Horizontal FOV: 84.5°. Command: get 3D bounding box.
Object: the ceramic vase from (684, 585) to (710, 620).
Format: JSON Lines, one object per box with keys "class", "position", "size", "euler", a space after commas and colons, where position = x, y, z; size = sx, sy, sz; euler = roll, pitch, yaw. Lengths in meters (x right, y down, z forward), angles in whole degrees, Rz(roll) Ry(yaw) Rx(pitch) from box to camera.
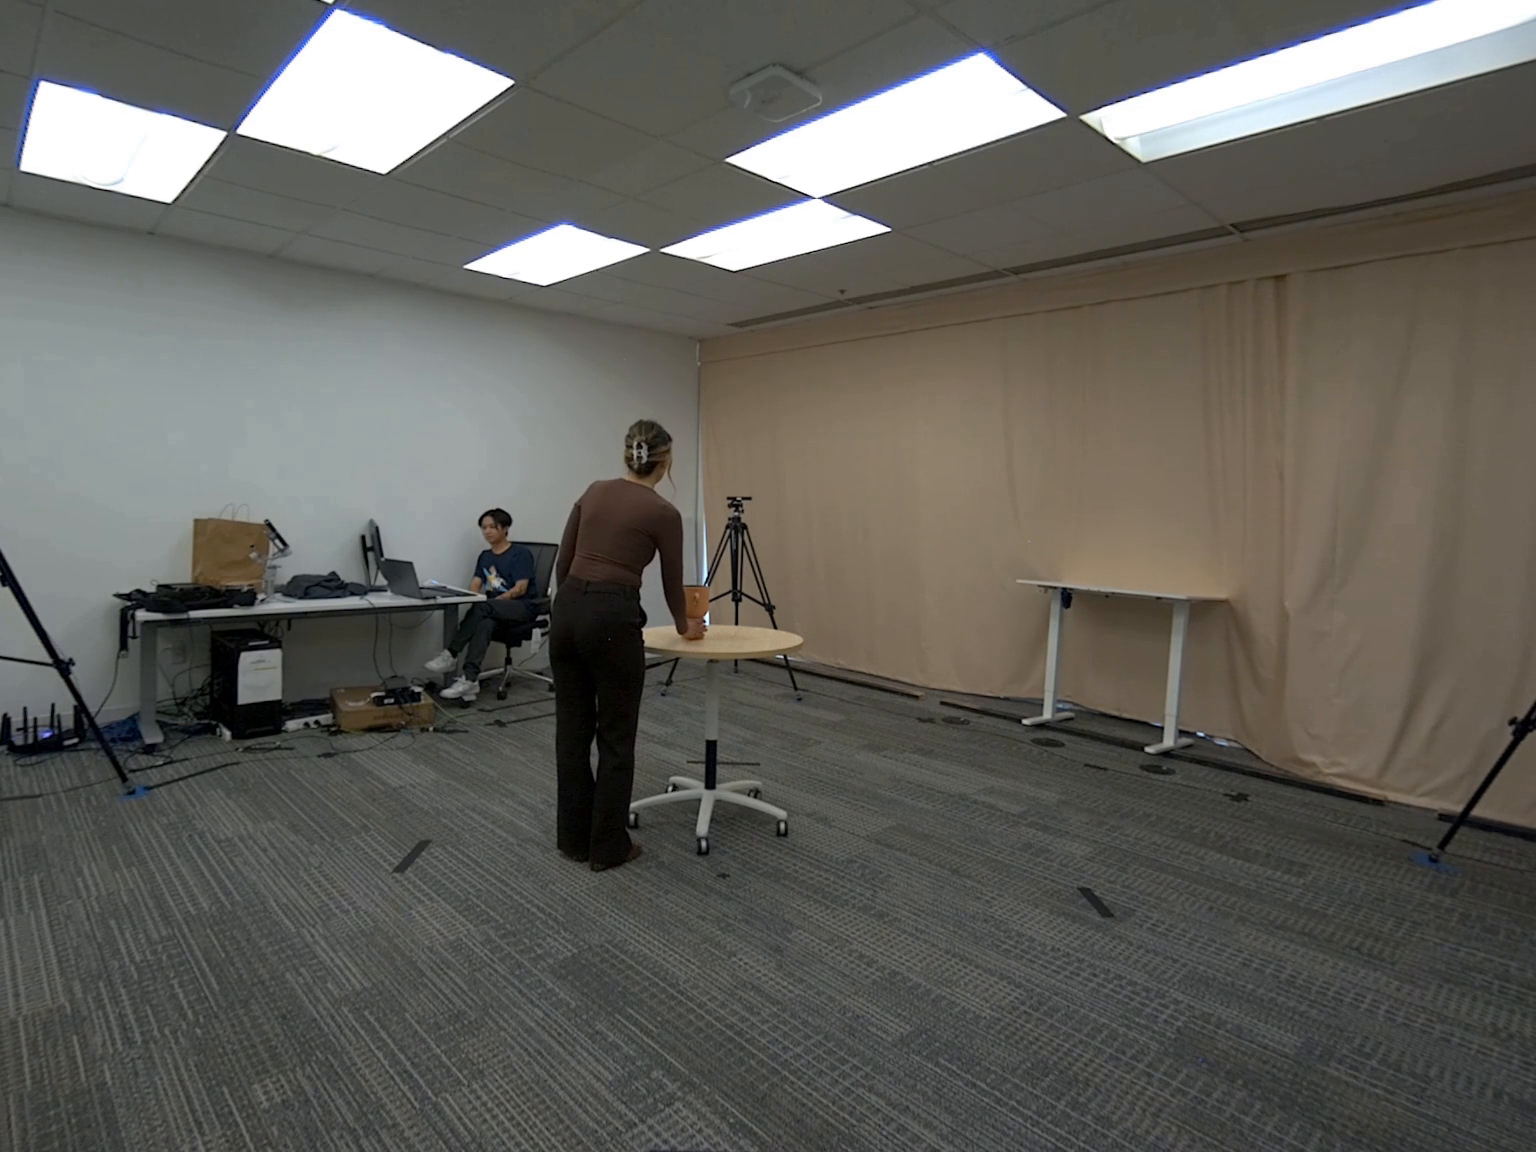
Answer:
{"class": "ceramic vase", "position": [-0.325, 0.154, 3.564], "size": [0.137, 0.220, 0.156], "euler": [1, 1, 24]}
